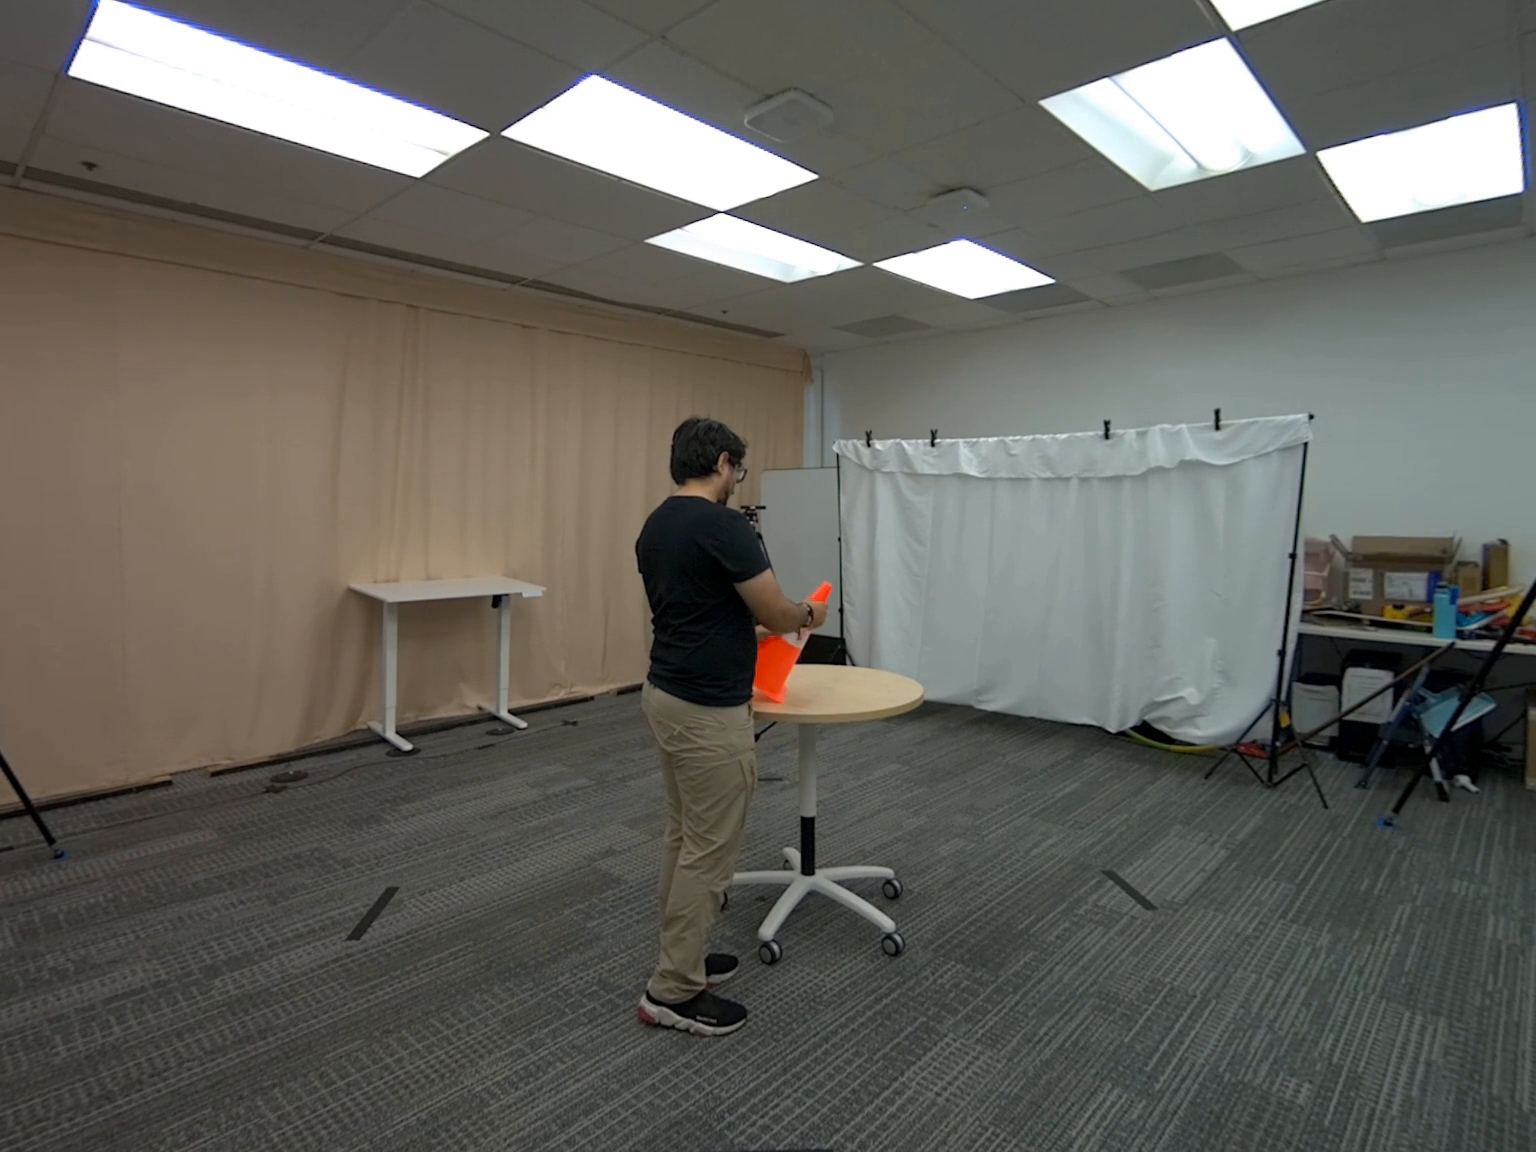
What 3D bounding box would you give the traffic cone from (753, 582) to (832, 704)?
[{"bbox_3d":[0.090,0.181,2.654,0.205,0.384,0.203,37,13,4],"label":"traffic cone"}]
